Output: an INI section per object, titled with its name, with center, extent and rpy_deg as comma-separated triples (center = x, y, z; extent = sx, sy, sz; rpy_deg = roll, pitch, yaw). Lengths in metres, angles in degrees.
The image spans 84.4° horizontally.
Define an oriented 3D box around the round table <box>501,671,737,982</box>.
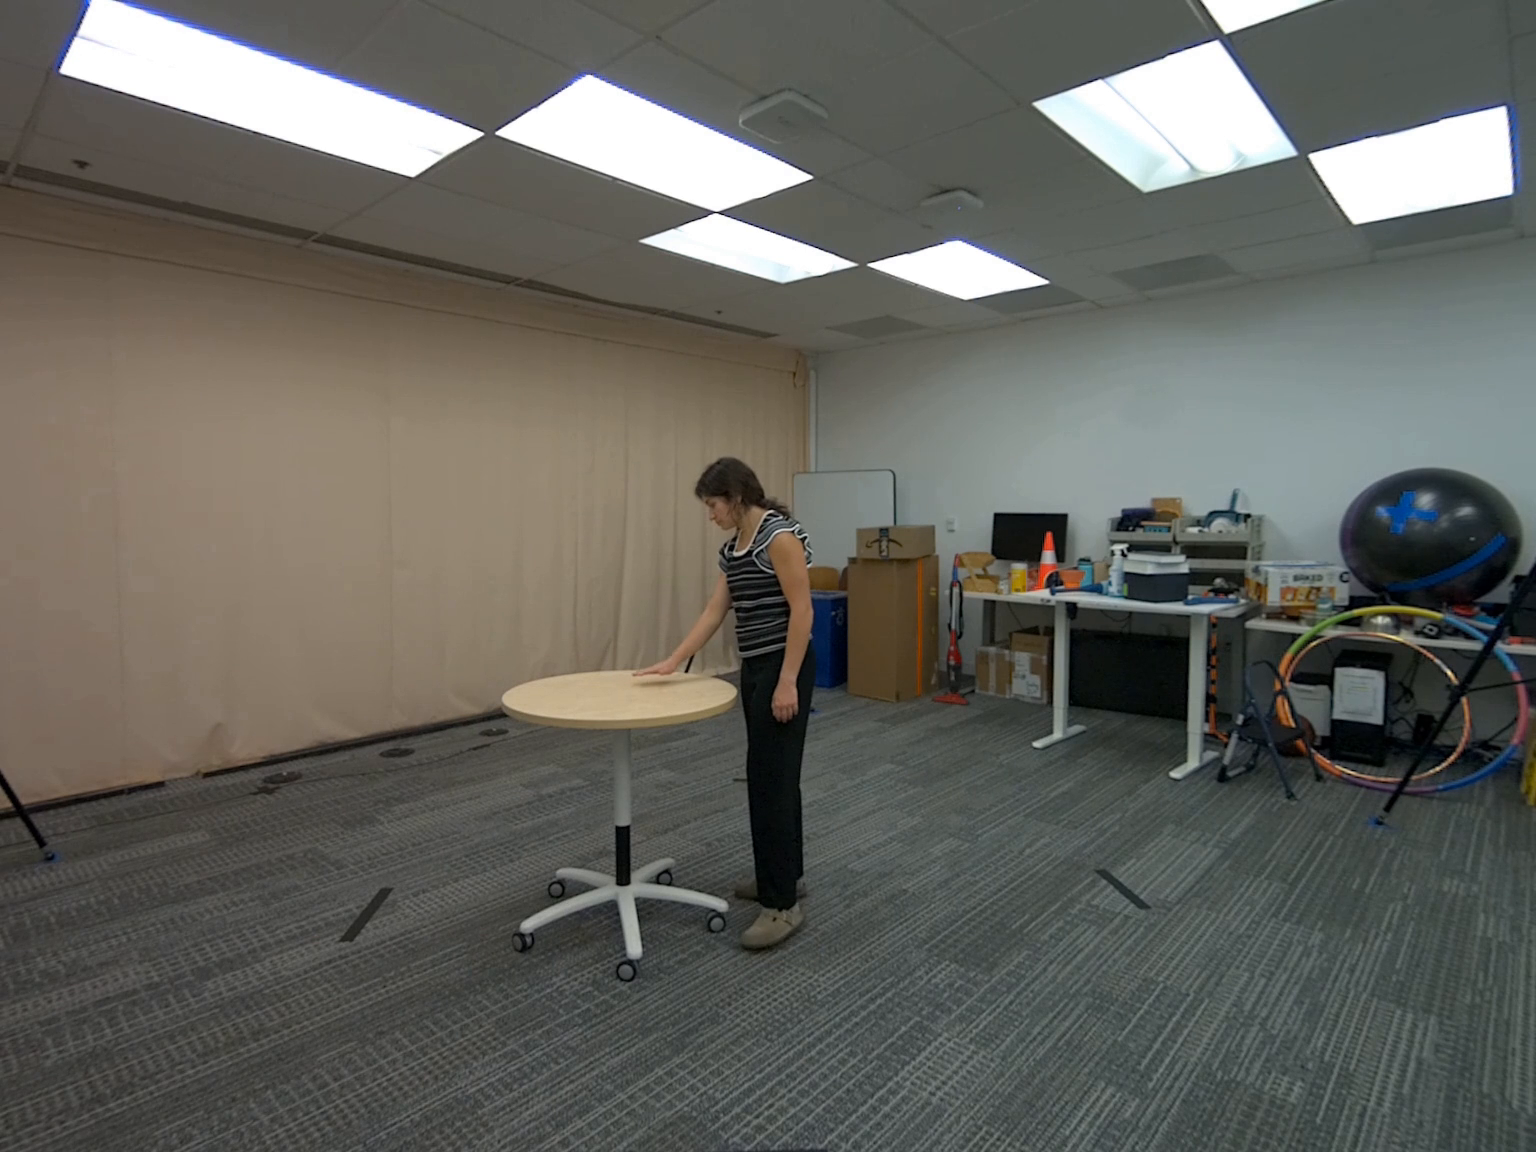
[round table]
center = -0.483, 0.779, 2.786
extent = 0.763, 0.792, 0.766
rpy_deg = 0, 3, -2
